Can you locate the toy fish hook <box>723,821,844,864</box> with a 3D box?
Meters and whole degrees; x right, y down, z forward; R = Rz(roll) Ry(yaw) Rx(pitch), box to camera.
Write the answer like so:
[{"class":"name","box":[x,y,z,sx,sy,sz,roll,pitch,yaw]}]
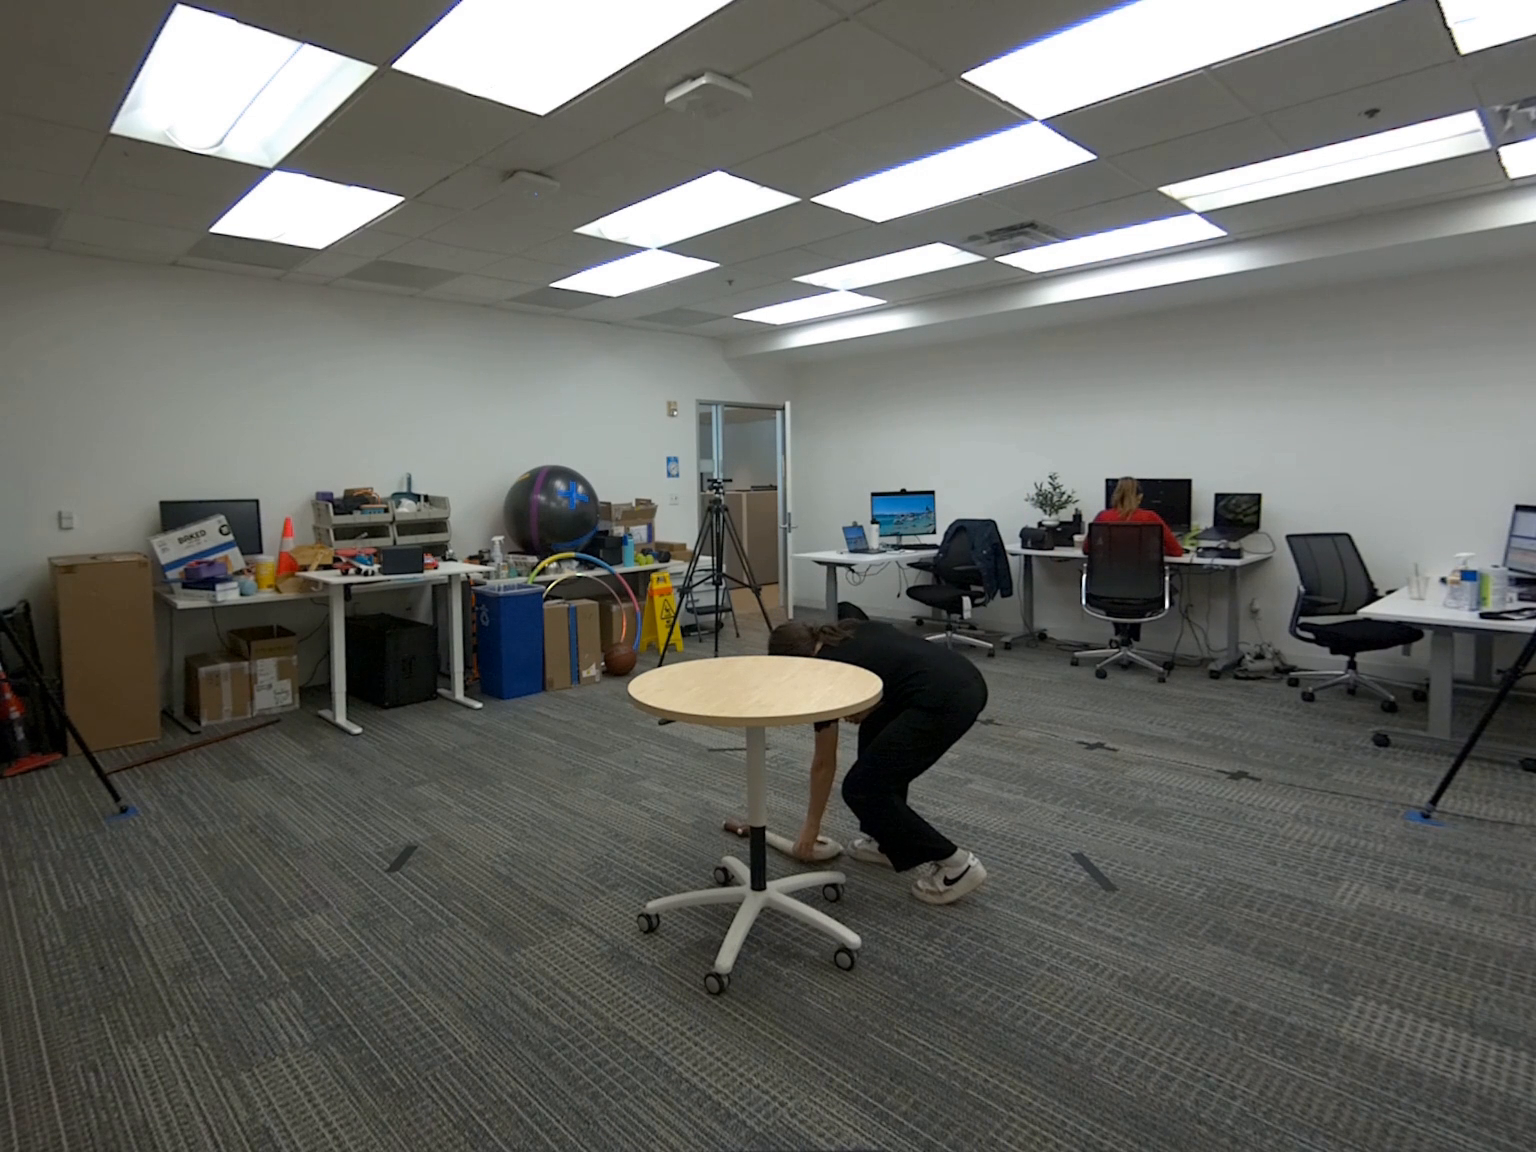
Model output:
[{"class":"toy fish hook","box":[0.056,1.005,3.293,0.522,0.048,0.217,4,-3,40]}]
